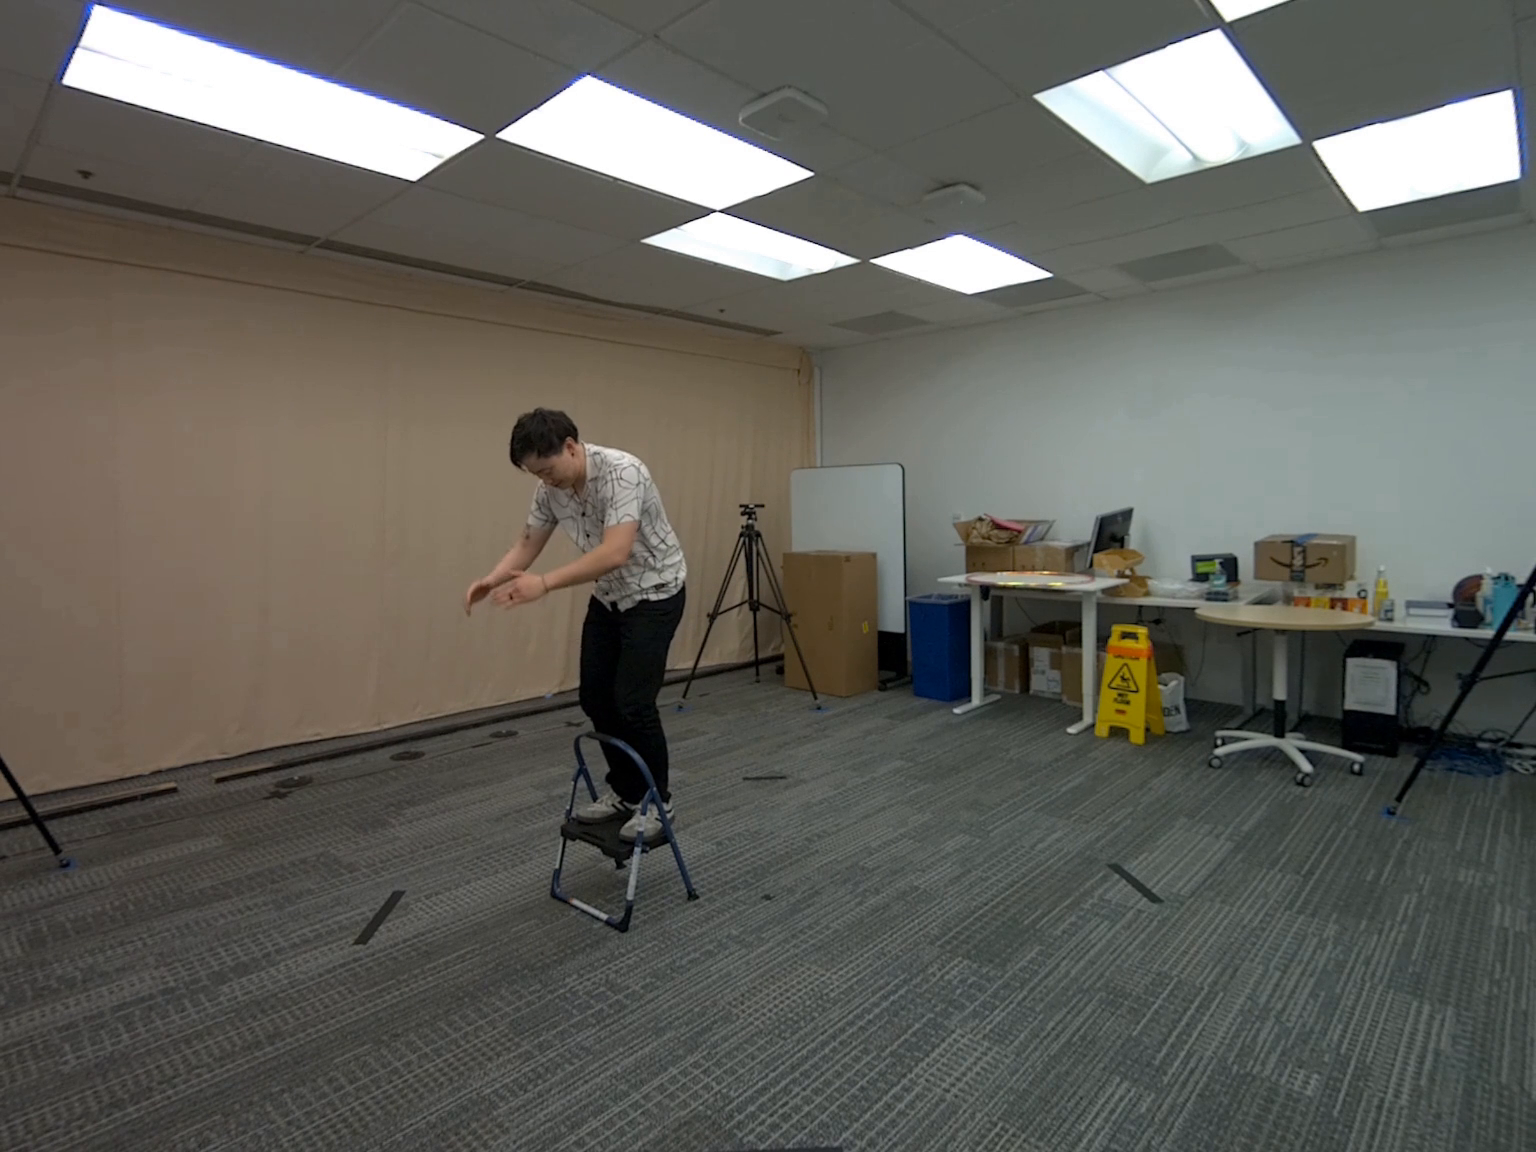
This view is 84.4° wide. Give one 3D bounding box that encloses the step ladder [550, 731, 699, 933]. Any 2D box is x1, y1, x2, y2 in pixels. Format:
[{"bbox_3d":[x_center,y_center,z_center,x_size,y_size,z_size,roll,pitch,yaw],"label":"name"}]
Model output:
[{"bbox_3d":[-0.526,0.846,2.998,0.445,0.604,0.339,2,5,41],"label":"step ladder"}]
